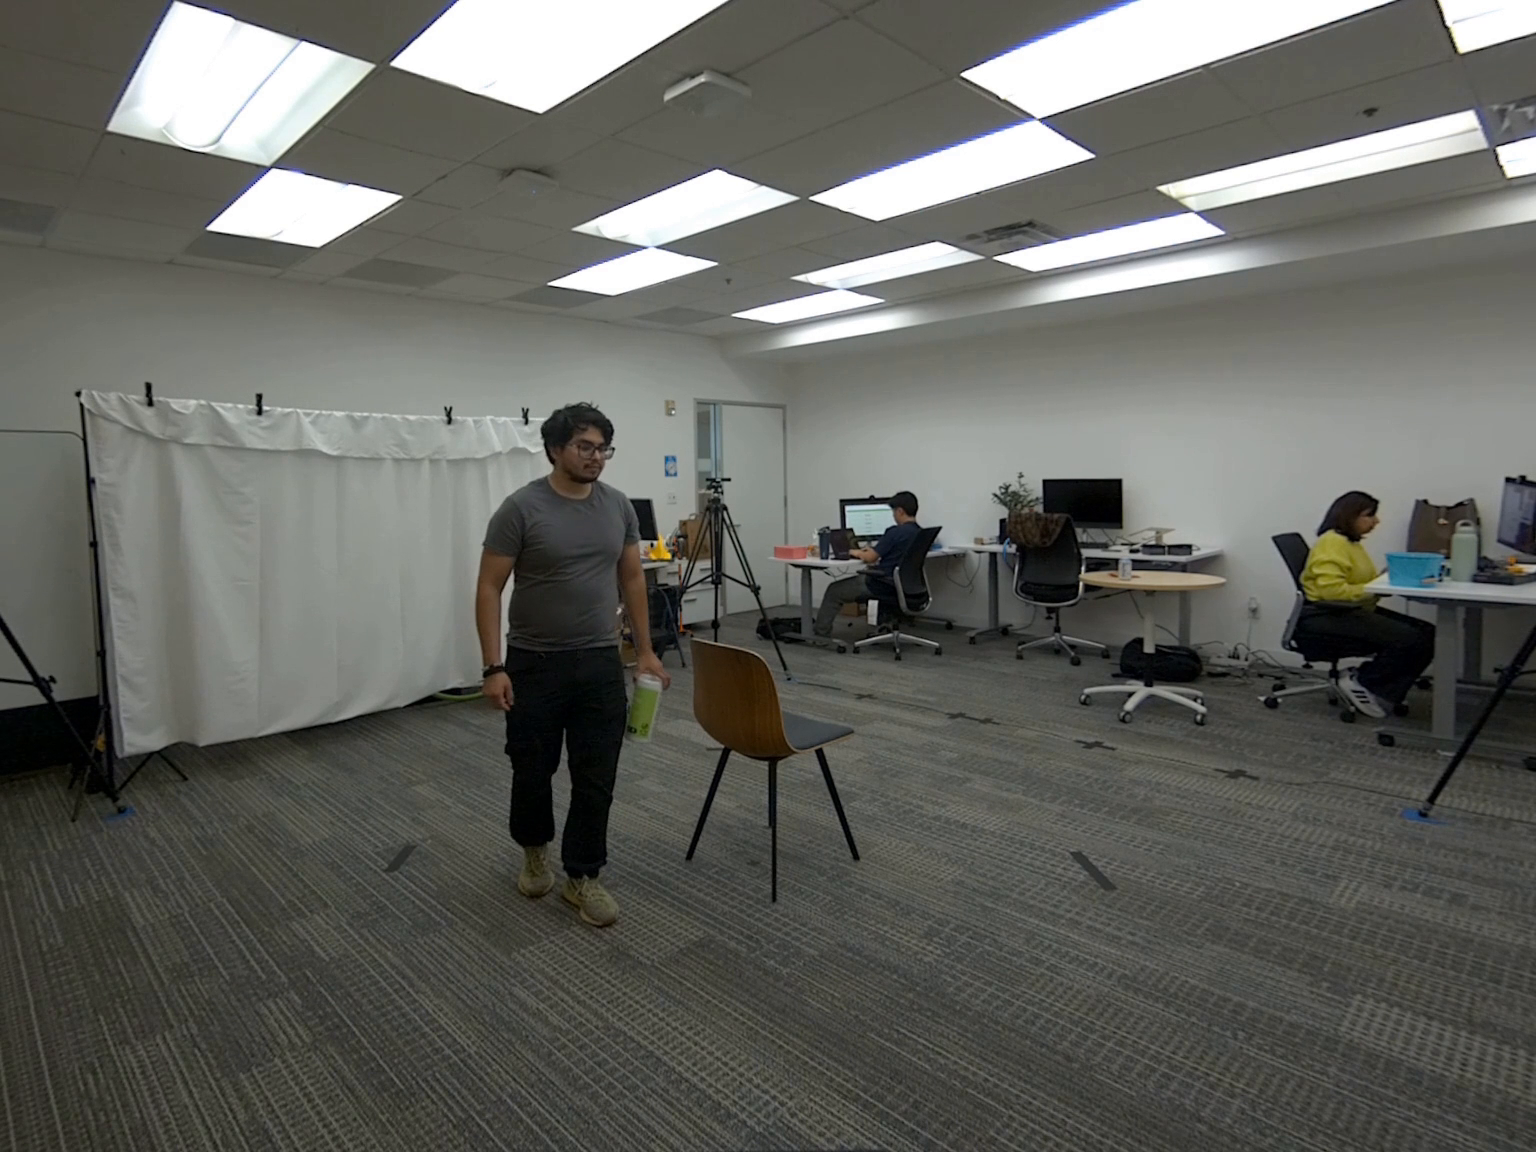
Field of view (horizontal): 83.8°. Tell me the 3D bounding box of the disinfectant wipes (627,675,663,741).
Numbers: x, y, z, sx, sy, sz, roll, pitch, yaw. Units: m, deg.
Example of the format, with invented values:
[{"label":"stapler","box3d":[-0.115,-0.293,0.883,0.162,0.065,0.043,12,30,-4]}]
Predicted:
[{"label":"disinfectant wipes","box3d":[-0.421,0.448,2.907,0.117,0.217,0.118,11,2,-2]}]
